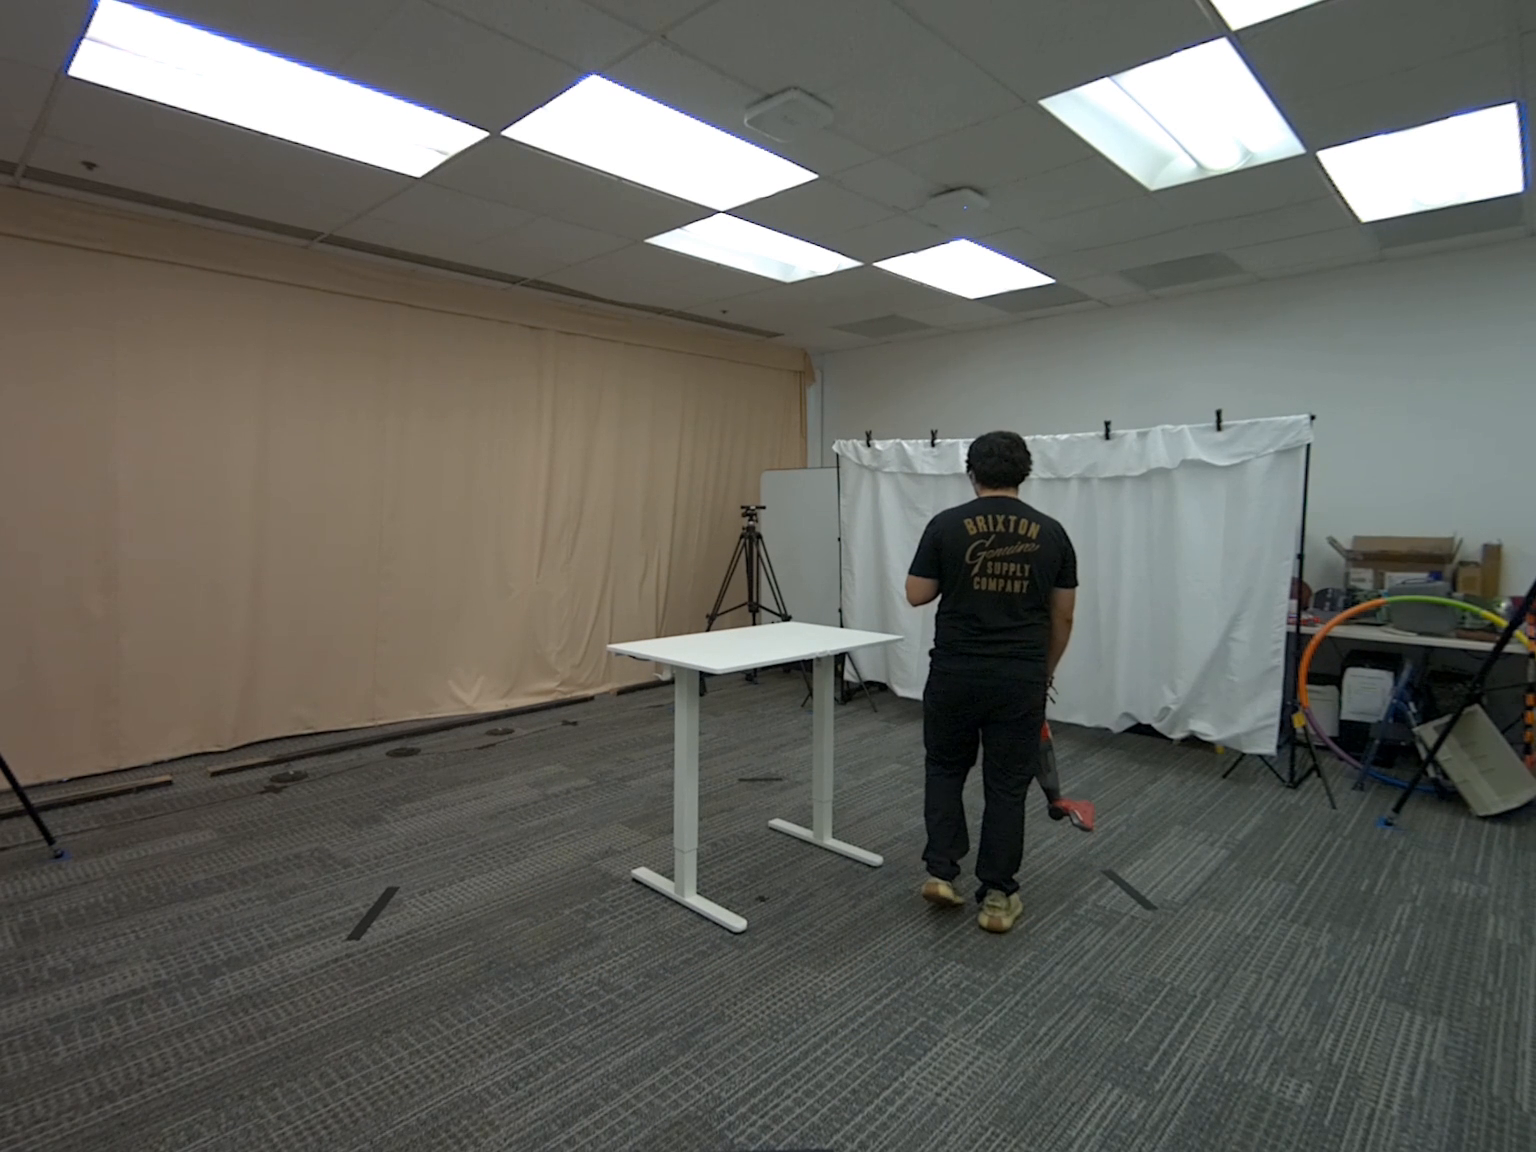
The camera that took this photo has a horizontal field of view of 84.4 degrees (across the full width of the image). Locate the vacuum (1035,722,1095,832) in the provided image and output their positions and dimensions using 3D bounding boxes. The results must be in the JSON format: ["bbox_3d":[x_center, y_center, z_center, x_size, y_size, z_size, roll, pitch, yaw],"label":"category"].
[{"bbox_3d":[0.882,0.370,3.042,0.146,1.058,0.246,-27,-9,27],"label":"vacuum"}]
